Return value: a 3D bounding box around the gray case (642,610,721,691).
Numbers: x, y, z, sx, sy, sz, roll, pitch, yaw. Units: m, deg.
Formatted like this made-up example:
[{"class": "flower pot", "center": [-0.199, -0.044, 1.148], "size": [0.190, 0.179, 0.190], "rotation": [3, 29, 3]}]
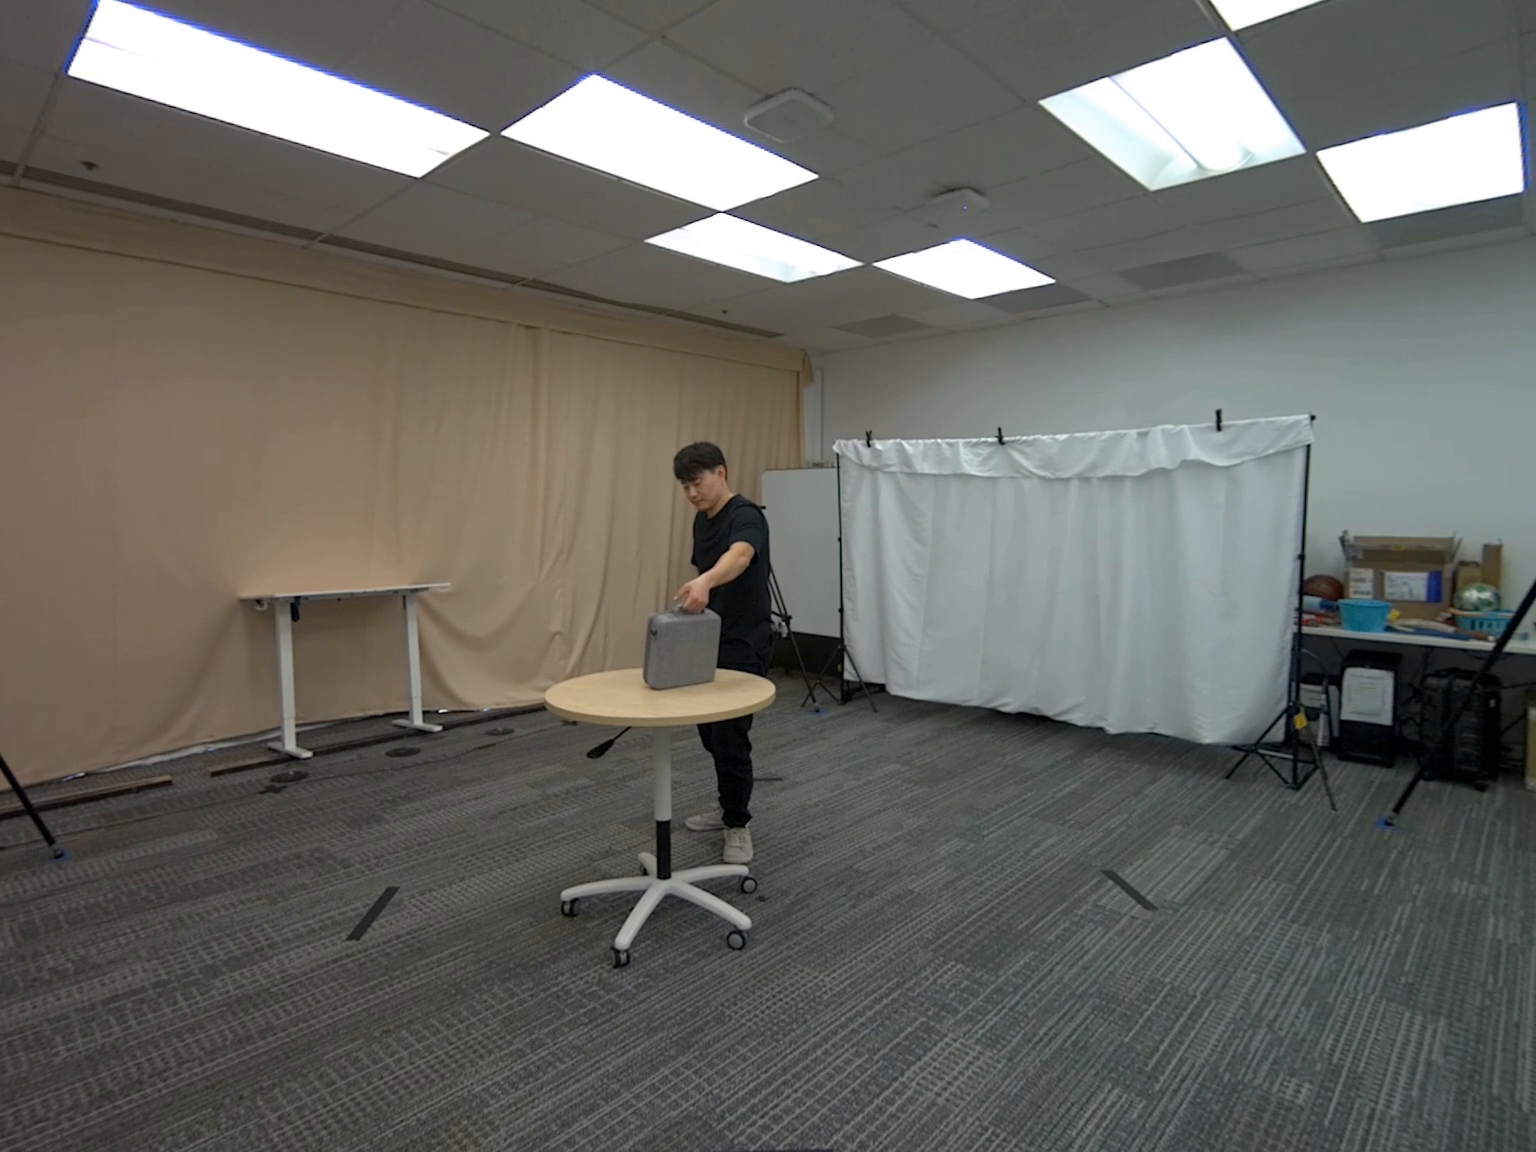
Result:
[{"class": "gray case", "center": [-0.293, 0.238, 2.865], "size": [0.249, 0.259, 0.108], "rotation": [-4, 16, -36]}]
